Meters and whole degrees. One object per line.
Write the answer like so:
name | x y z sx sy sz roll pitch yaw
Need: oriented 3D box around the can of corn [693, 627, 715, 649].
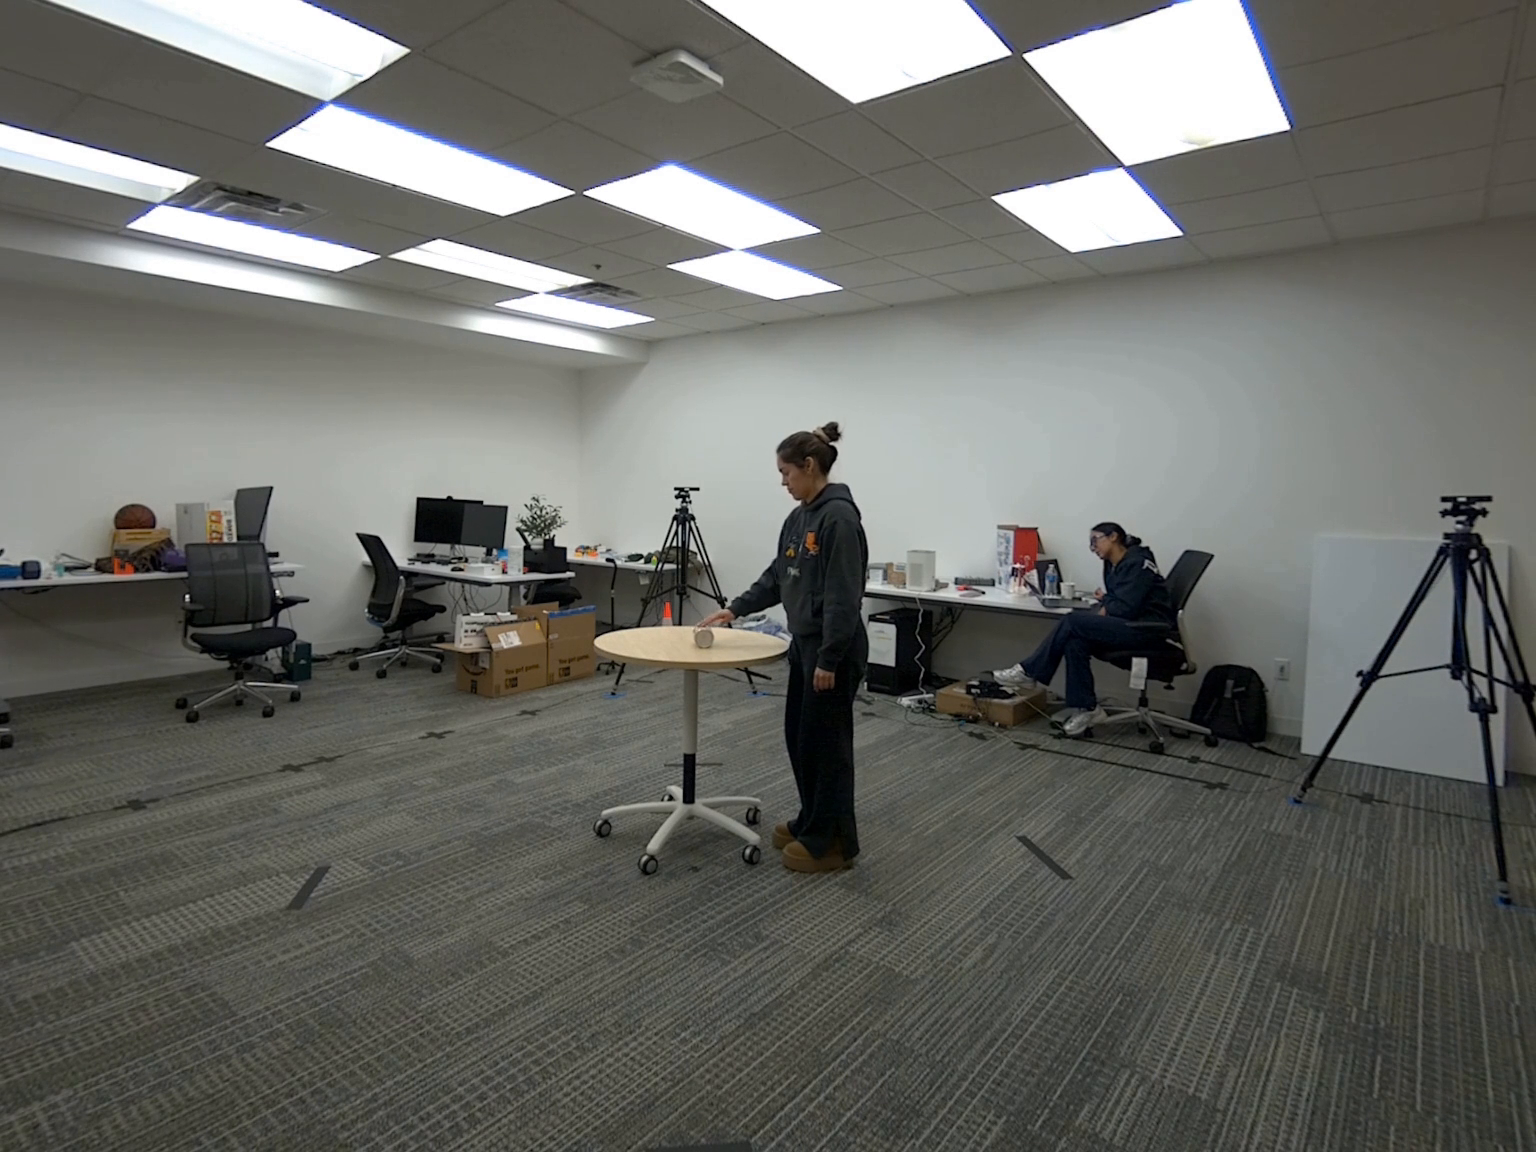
can of corn | -0.254 0.231 3.295 0.074 0.074 0.112 0 8 -3
